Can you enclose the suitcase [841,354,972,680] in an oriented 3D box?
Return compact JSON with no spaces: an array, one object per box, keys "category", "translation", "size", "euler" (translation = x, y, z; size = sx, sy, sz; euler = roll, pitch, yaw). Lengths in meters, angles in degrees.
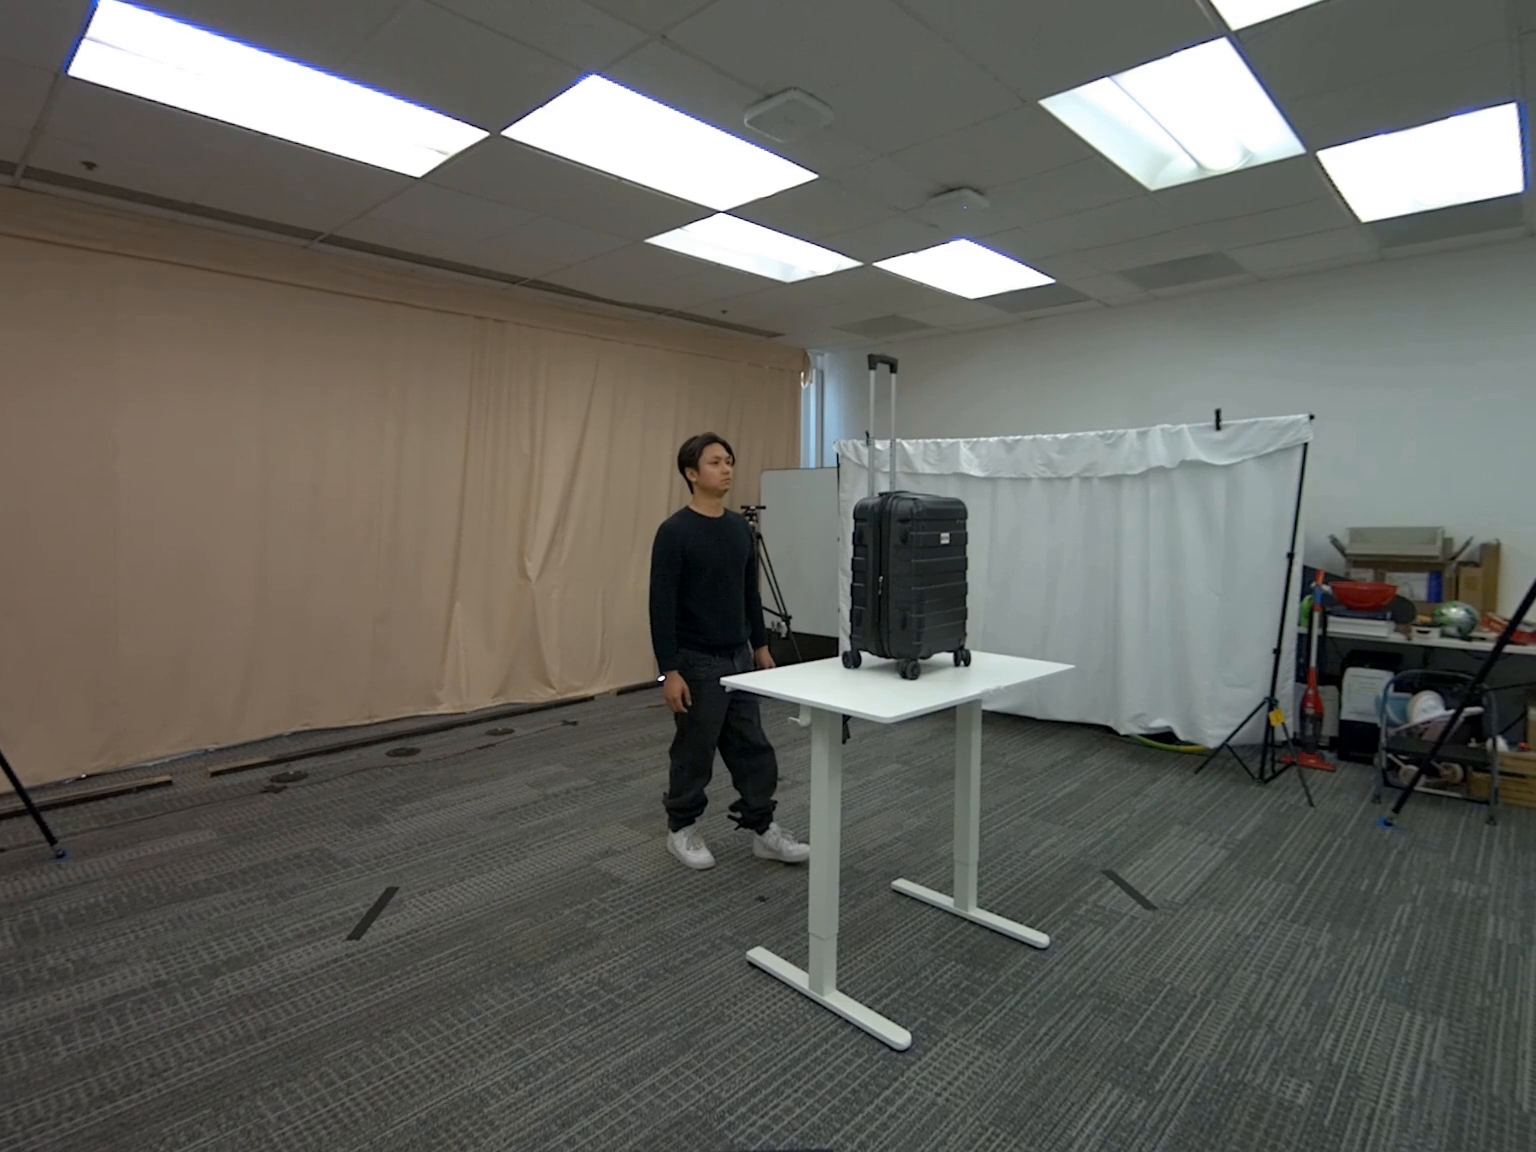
[{"category":"suitcase","translation":[0.457,-0.192,2.626],"size":[0.266,0.976,0.372],"euler":[5,6,43]}]
